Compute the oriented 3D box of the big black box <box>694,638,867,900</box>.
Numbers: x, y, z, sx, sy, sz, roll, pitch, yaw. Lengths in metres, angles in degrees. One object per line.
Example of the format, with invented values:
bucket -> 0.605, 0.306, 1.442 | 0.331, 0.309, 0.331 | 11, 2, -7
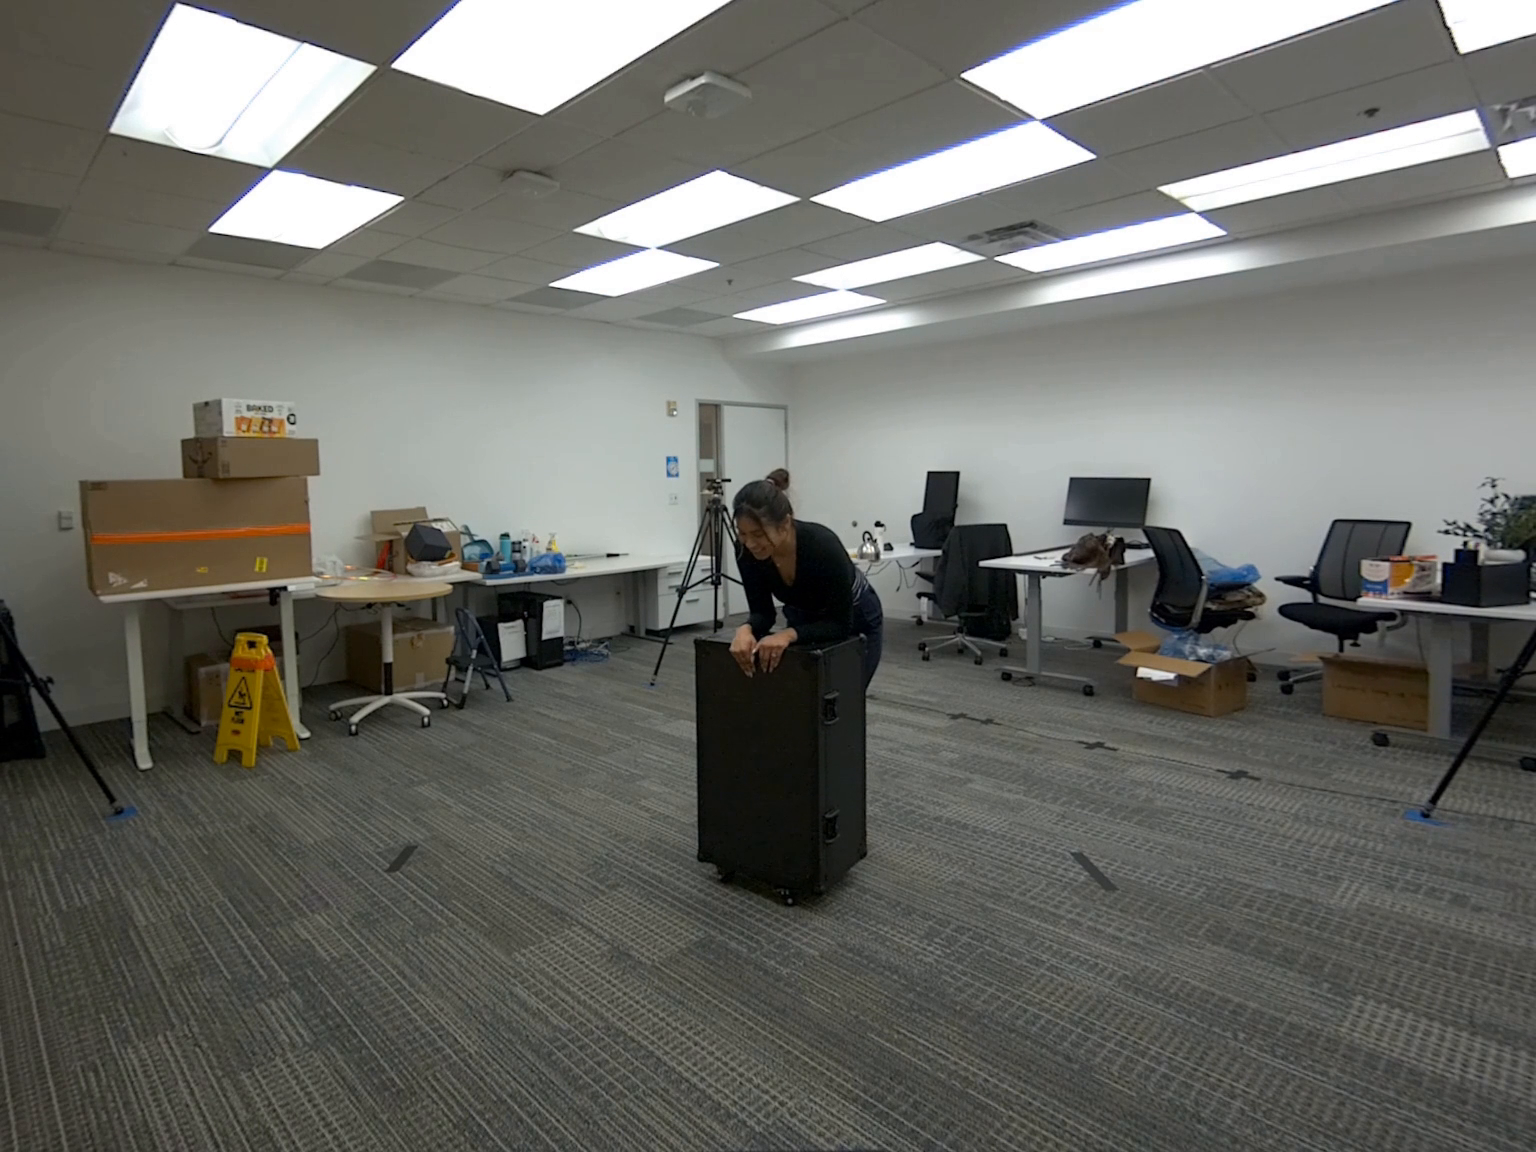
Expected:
big black box -> 0.048, 0.633, 2.973 | 0.536, 0.860, 0.386 | 2, 3, 33
